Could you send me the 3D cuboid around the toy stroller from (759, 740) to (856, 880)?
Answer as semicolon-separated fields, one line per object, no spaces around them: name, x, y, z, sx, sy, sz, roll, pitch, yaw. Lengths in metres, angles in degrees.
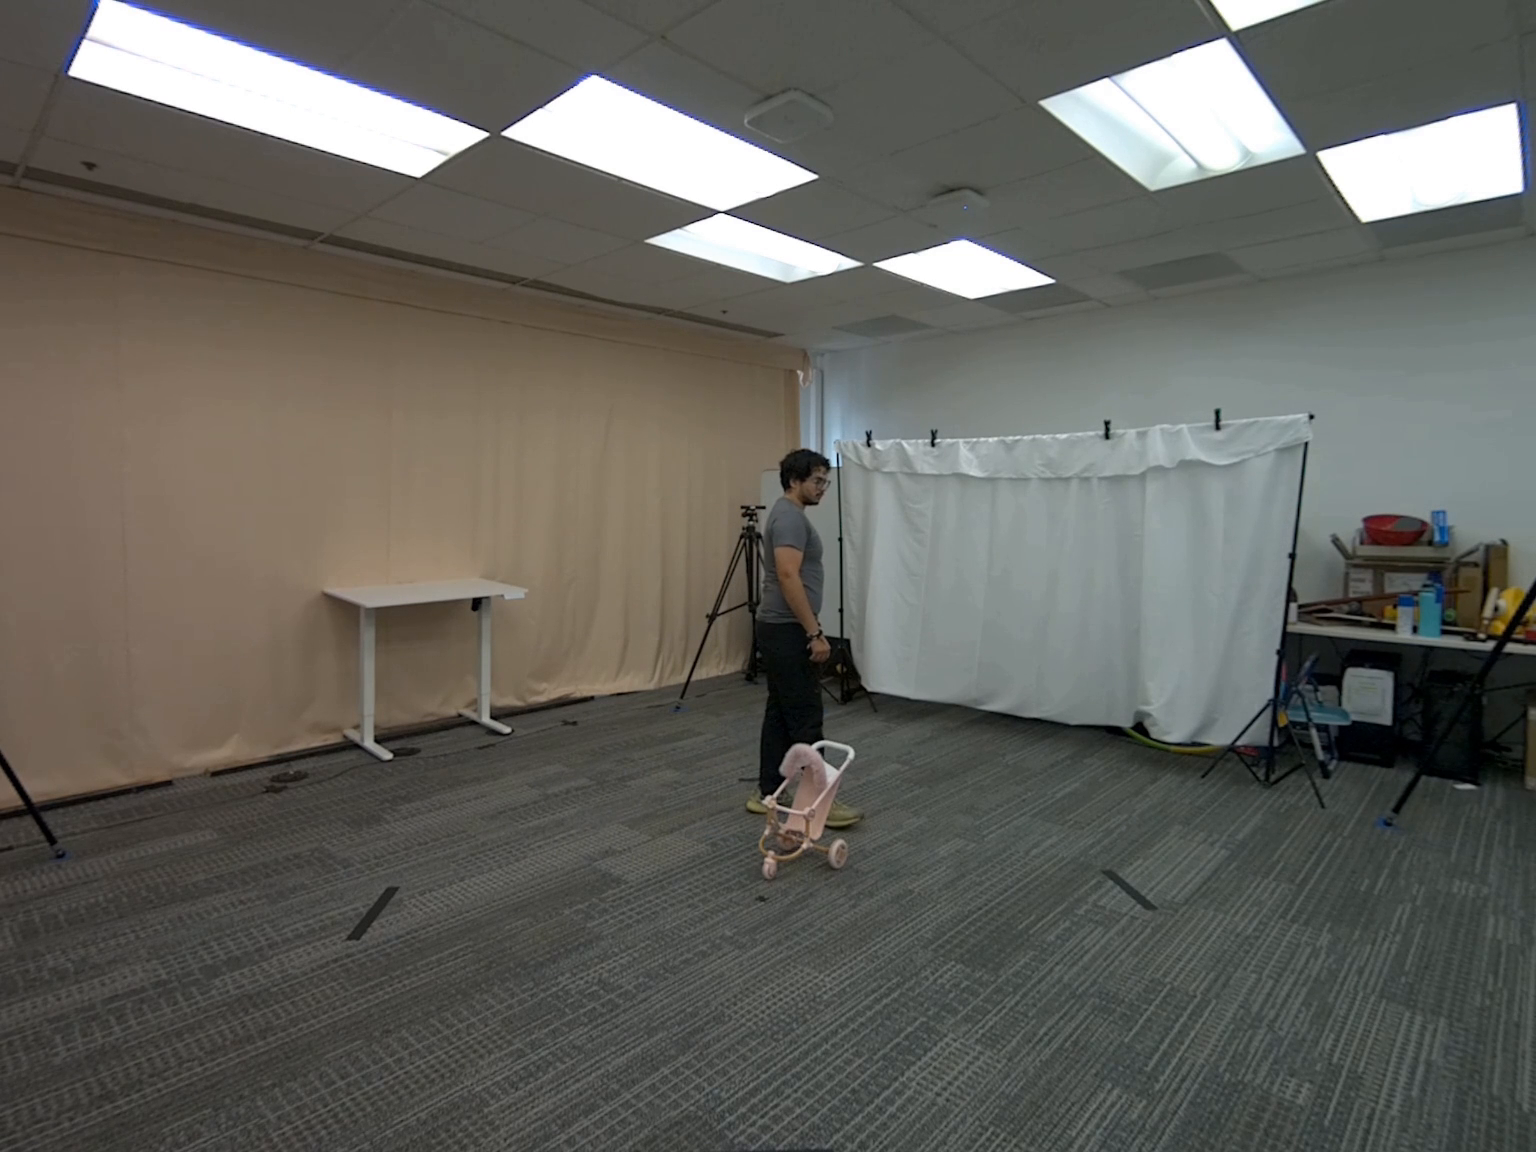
toy stroller;0.131;0.891;3.267;0.329;0.537;0.291;19;-11;-42
